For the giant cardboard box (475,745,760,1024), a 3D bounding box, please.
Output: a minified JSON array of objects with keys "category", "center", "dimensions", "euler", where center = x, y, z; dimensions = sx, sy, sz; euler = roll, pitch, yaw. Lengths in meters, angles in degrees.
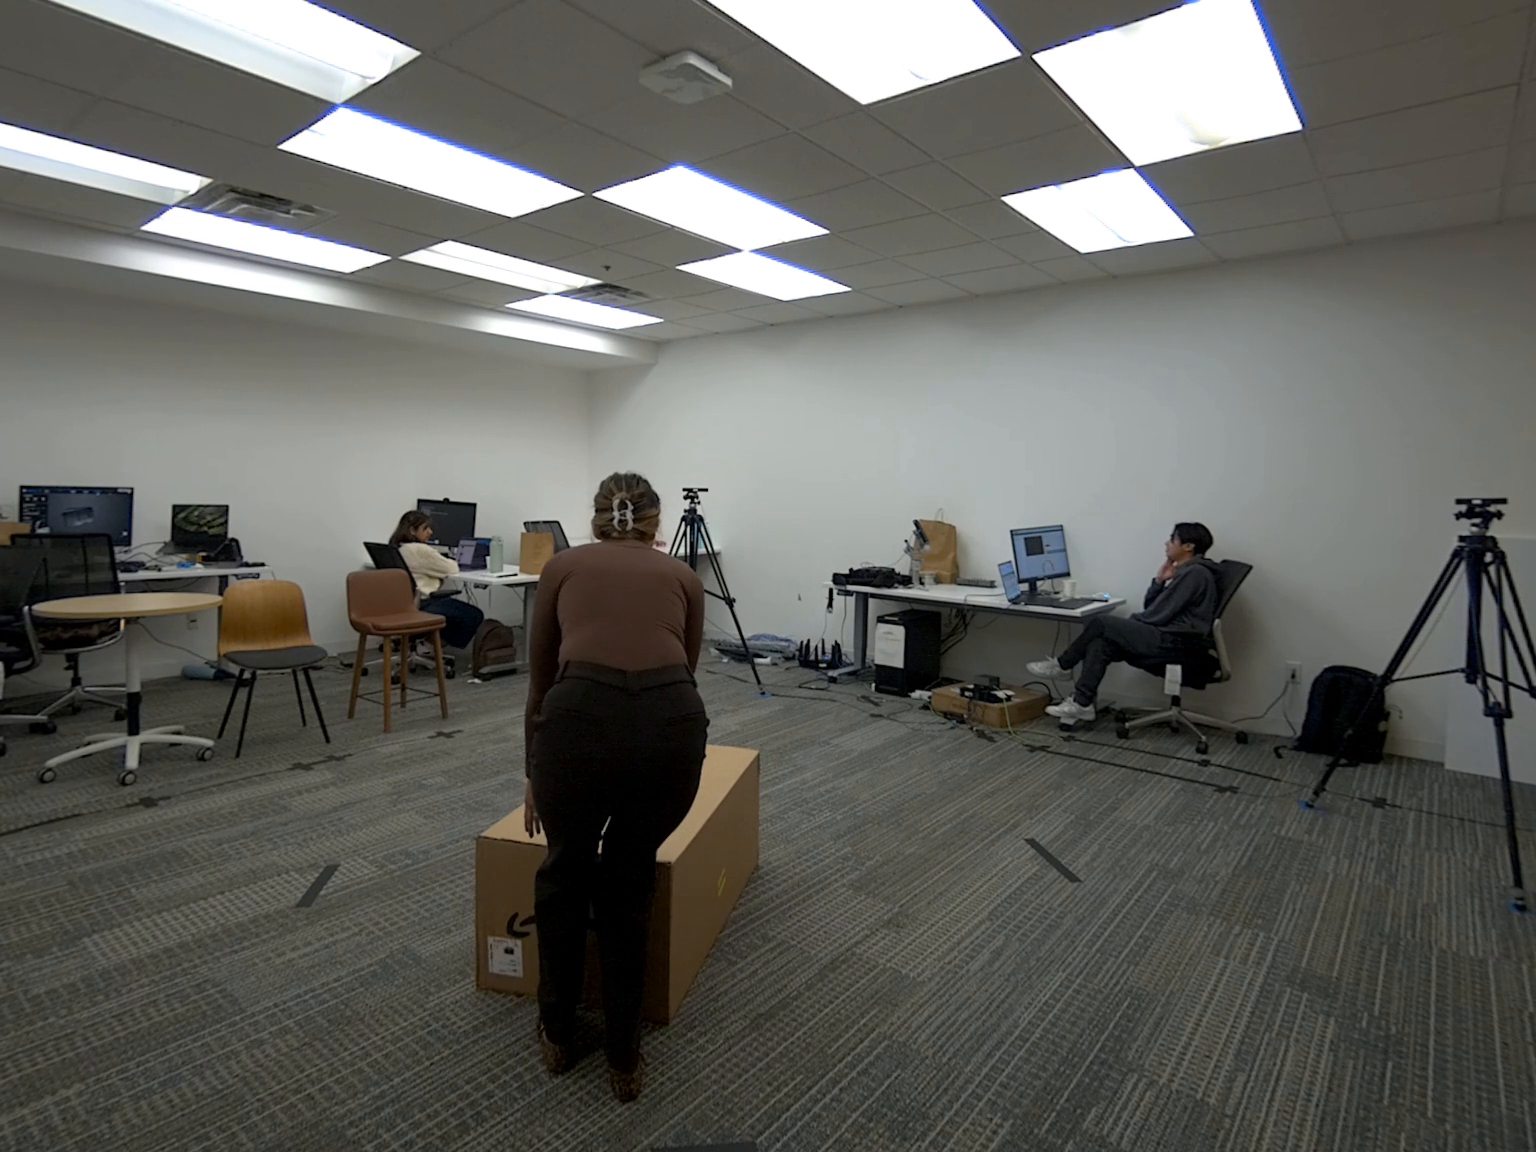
[{"category":"giant cardboard box","center":[-0.426,0.889,2.748],"dimensions":[0.593,0.445,1.015],"euler":[3,6,13]}]
